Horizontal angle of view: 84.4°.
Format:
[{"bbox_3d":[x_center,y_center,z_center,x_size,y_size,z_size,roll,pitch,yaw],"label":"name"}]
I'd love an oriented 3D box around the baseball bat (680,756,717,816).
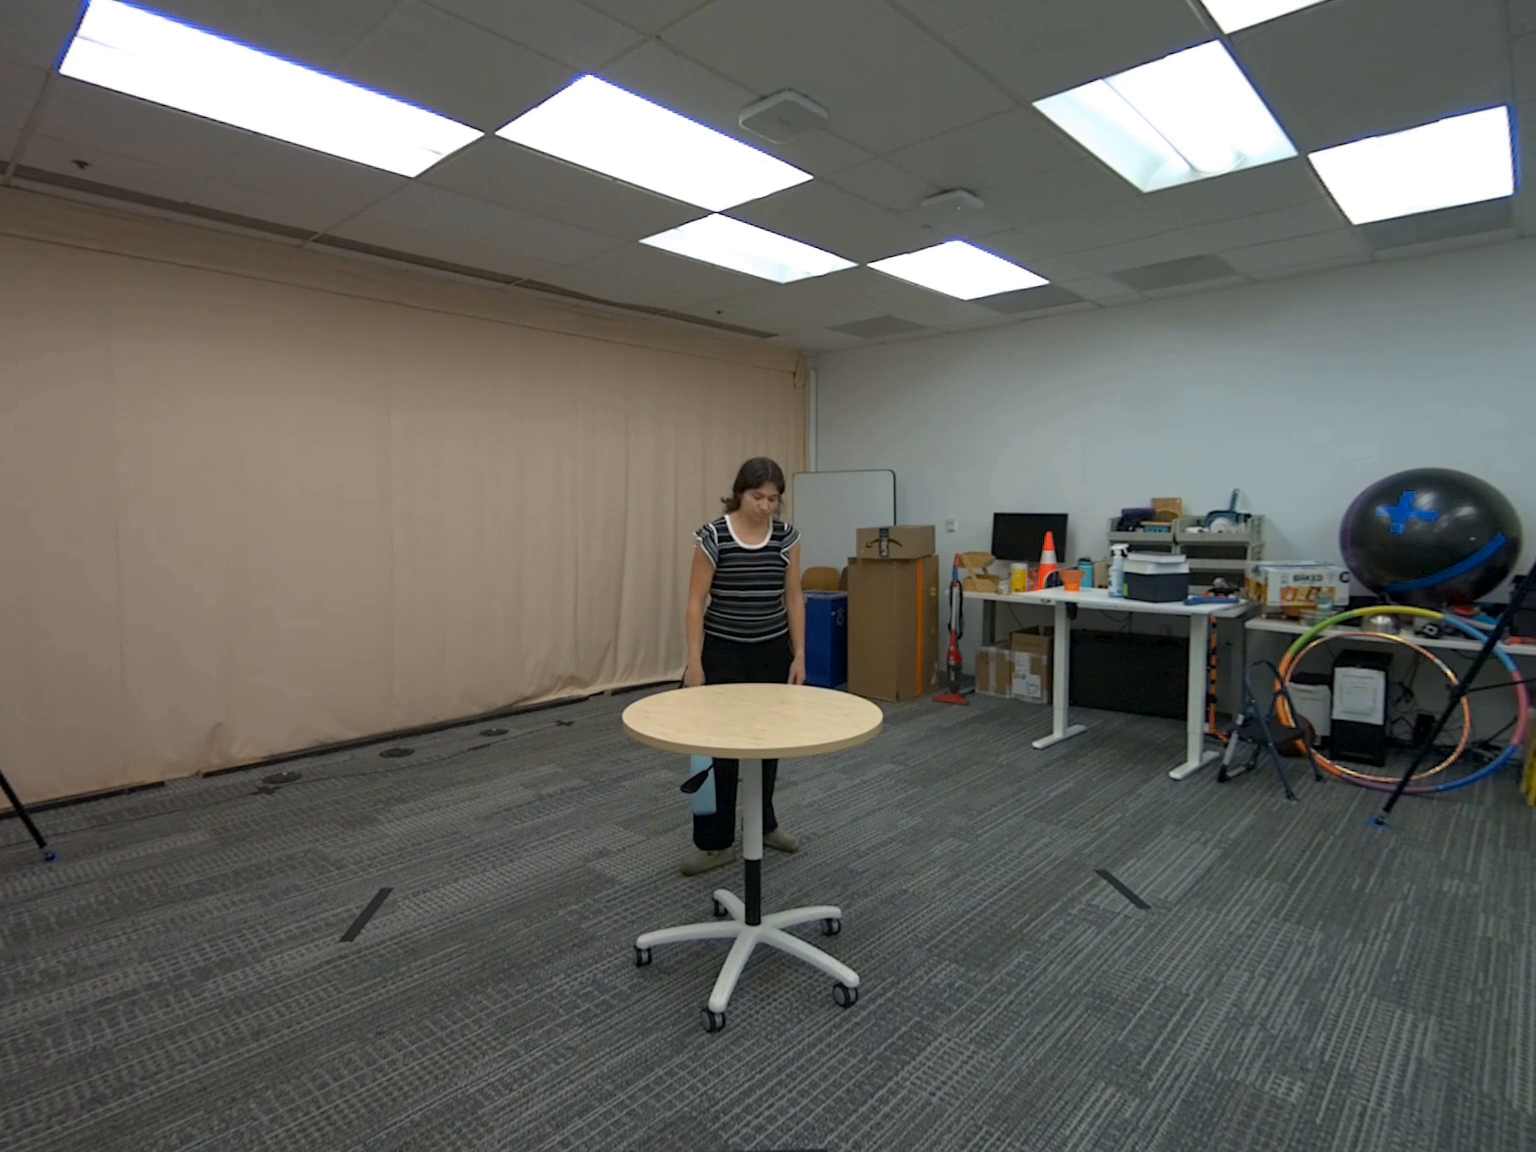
[{"bbox_3d":[-0.242,0.617,3.172,0.089,0.549,0.088,-4,-17,-3],"label":"baseball bat"}]
